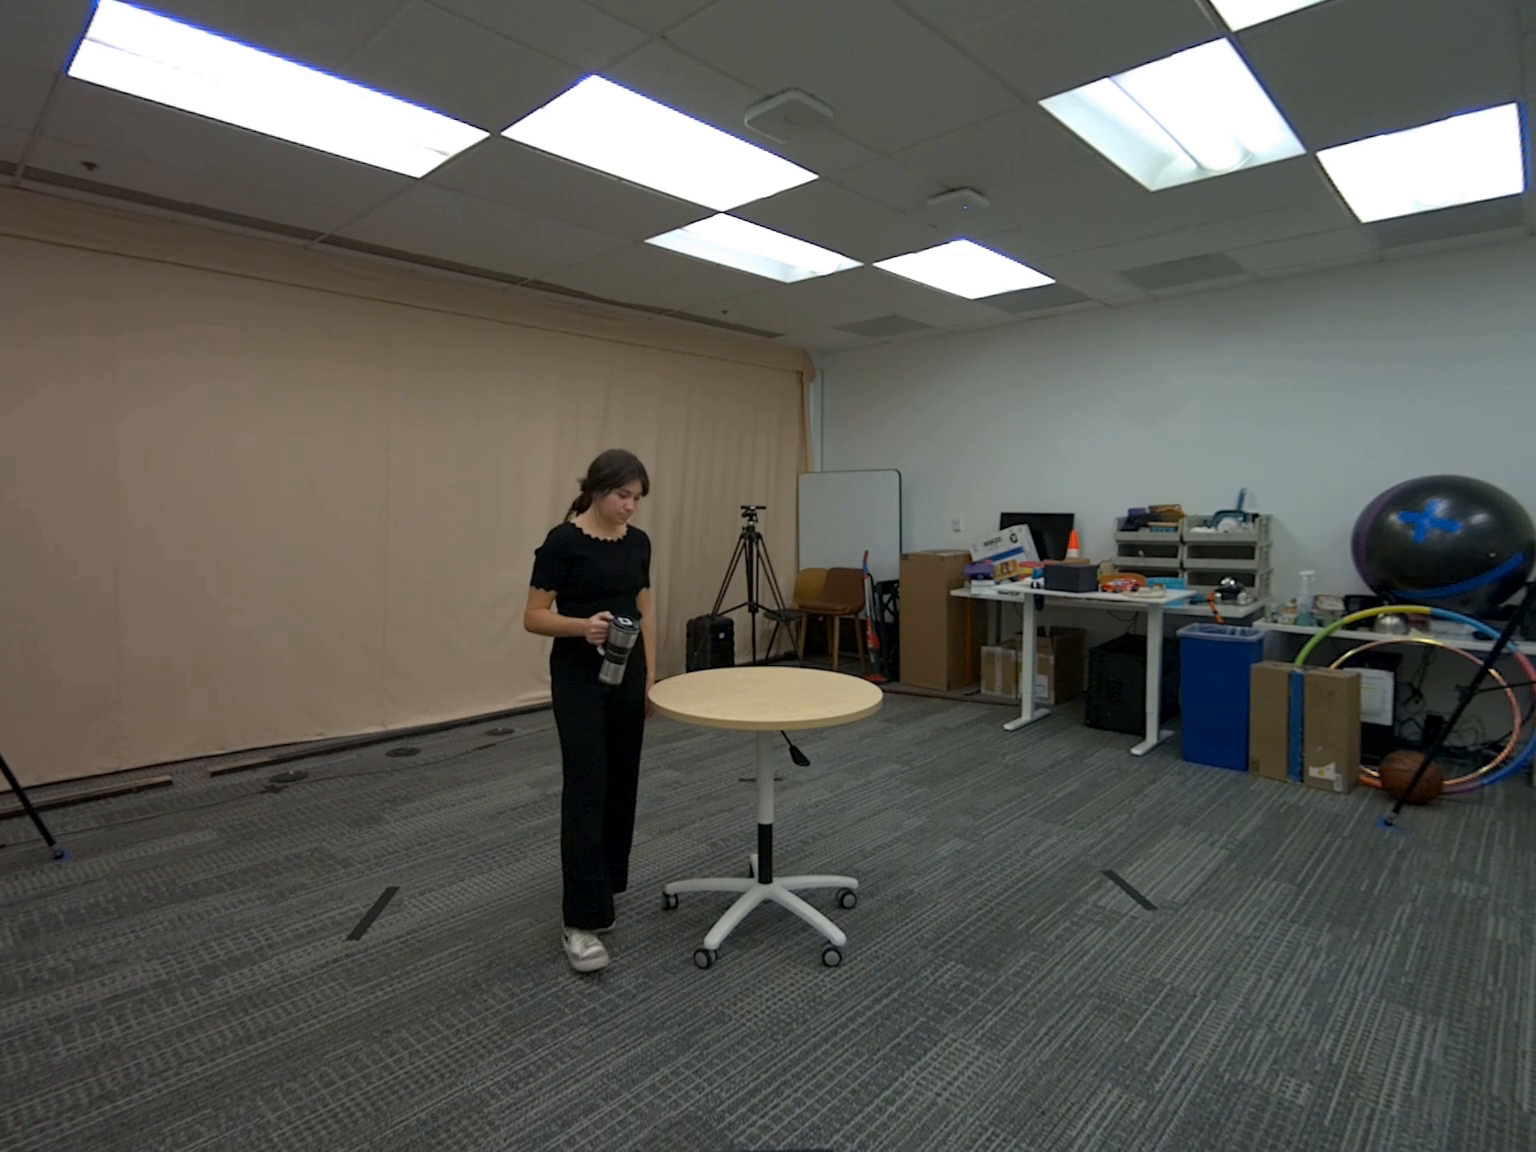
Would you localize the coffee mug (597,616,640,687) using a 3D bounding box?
[{"bbox_3d":[-0.450,0.234,2.551,0.118,0.202,0.091,2,14,-41],"label":"coffee mug"}]
